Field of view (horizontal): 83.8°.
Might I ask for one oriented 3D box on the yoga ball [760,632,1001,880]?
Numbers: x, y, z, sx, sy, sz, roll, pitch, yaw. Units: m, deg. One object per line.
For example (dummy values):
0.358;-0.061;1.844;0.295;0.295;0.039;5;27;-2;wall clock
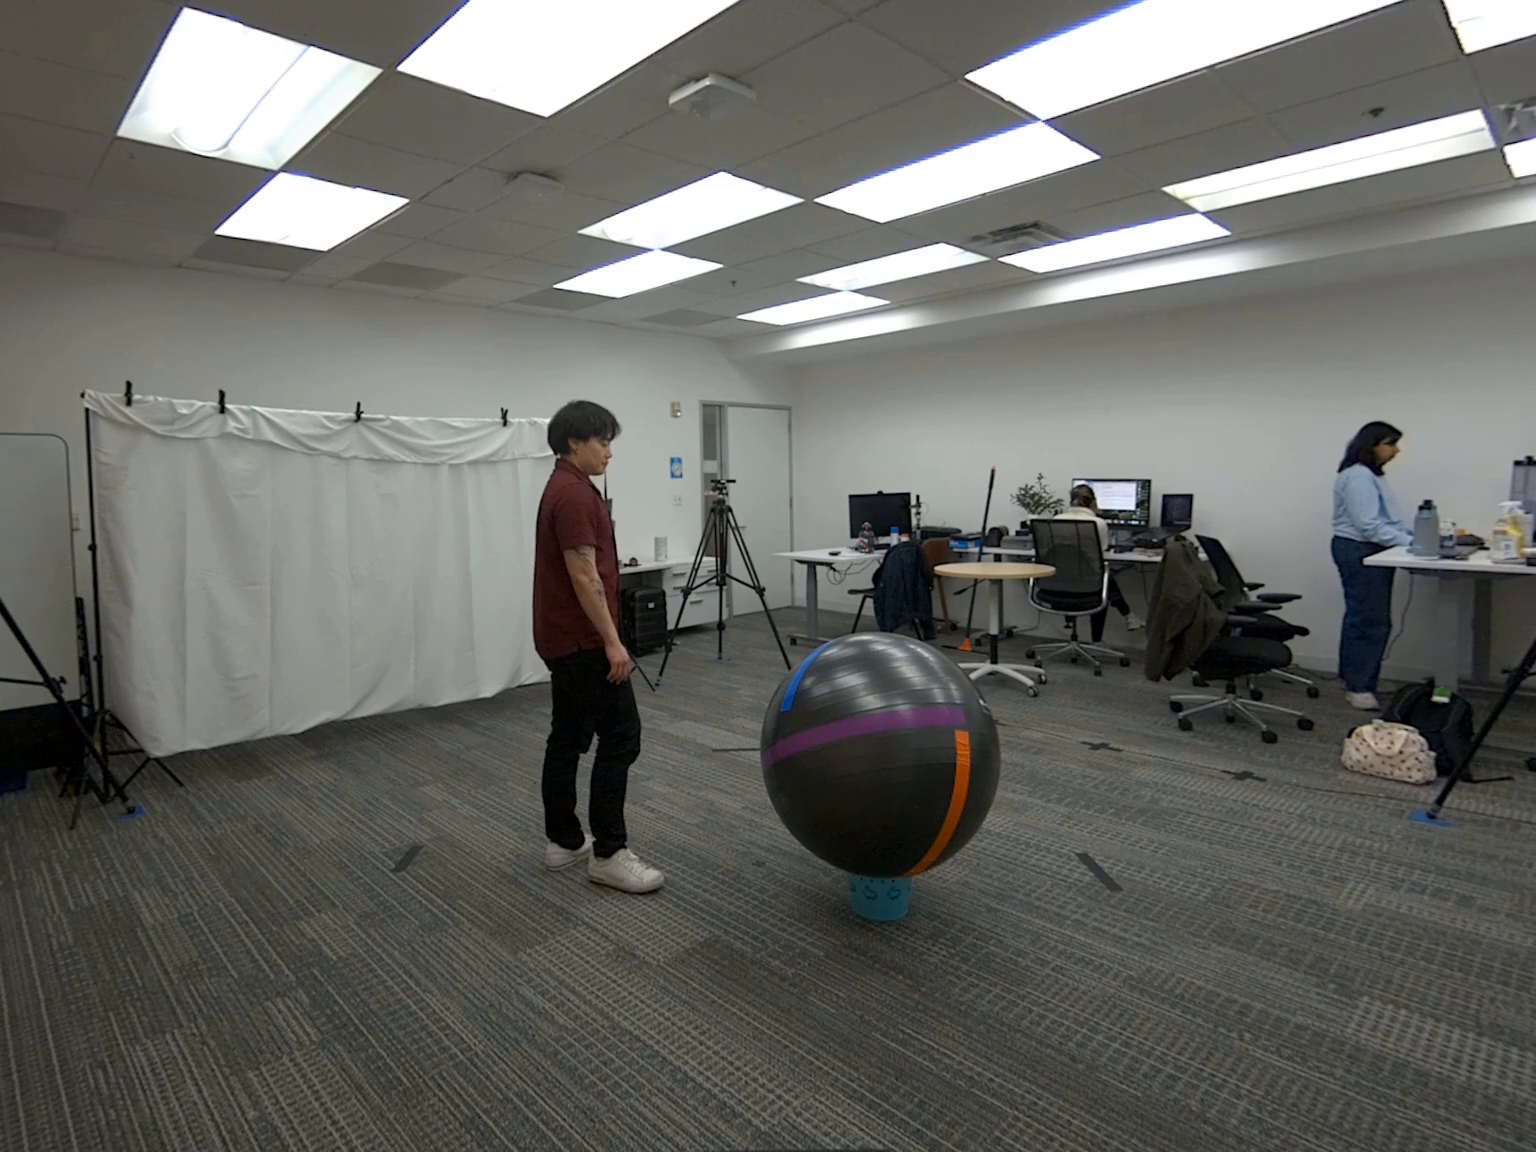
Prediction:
0.355;0.565;2.753;0.757;0.755;0.762;-1;5;-2;yoga ball
